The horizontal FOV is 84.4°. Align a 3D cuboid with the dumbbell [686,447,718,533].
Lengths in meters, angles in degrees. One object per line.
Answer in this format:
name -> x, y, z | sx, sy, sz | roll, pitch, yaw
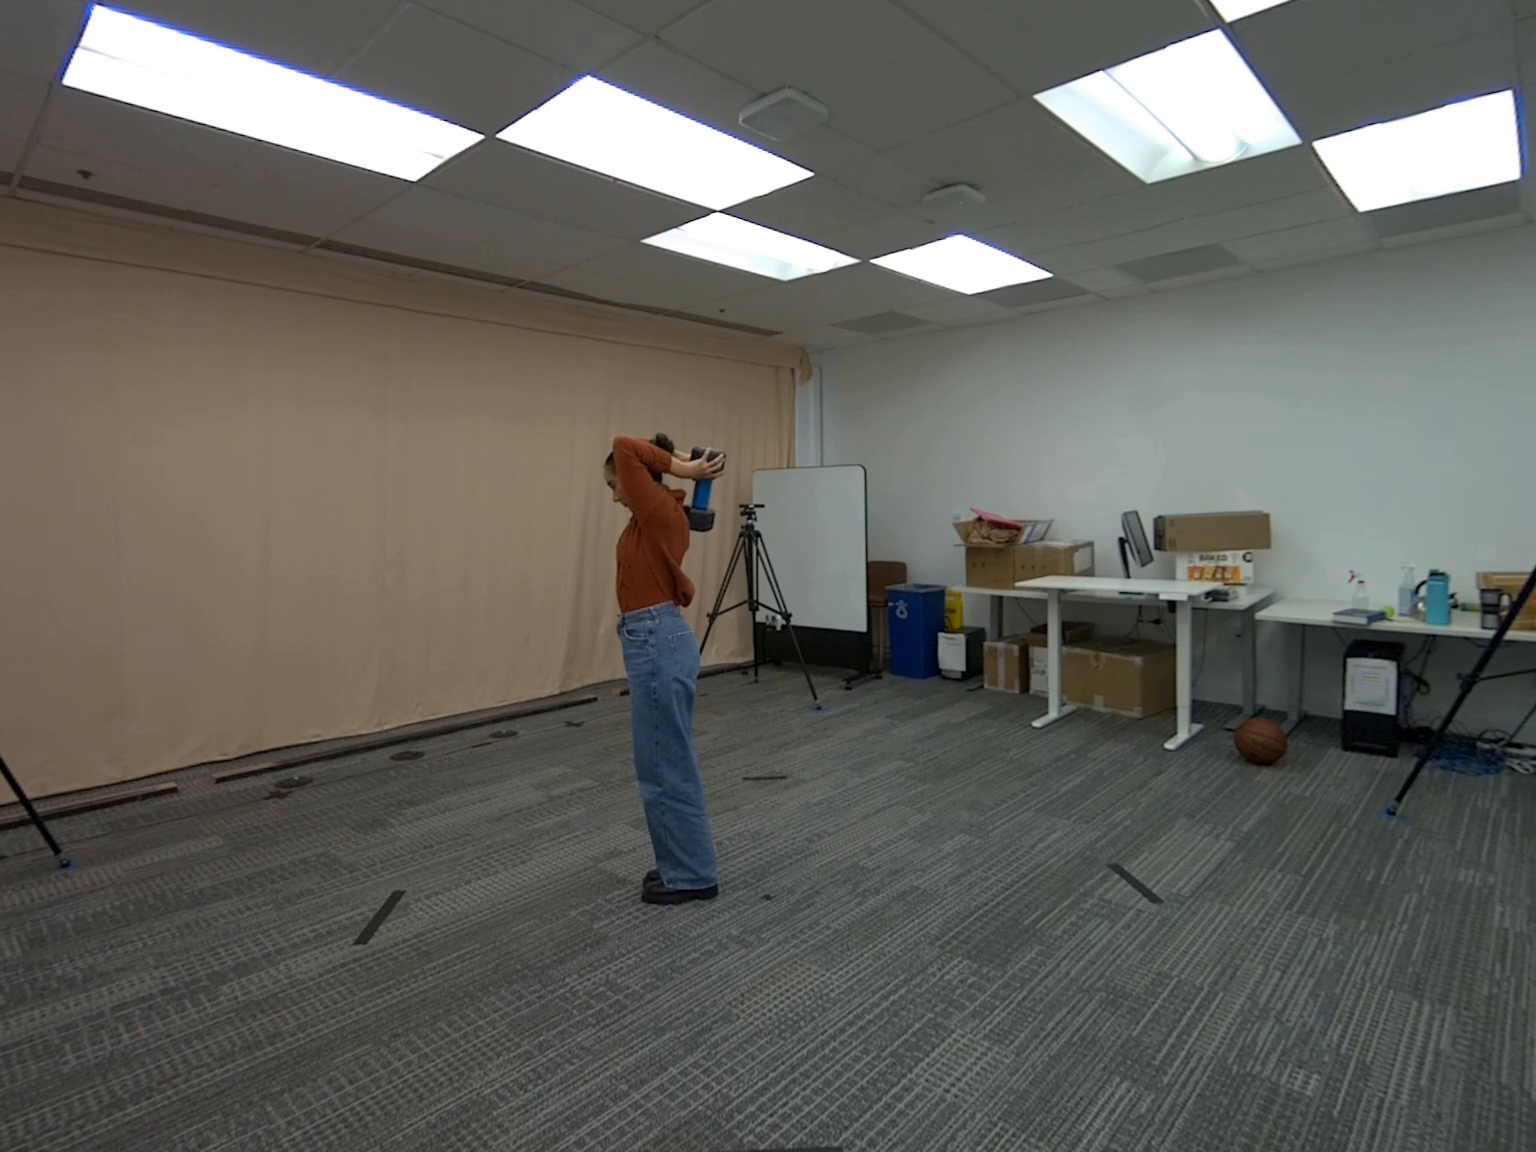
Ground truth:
dumbbell -> -0.233, -0.310, 2.981 | 0.122, 0.292, 0.110 | 4, 11, -8
